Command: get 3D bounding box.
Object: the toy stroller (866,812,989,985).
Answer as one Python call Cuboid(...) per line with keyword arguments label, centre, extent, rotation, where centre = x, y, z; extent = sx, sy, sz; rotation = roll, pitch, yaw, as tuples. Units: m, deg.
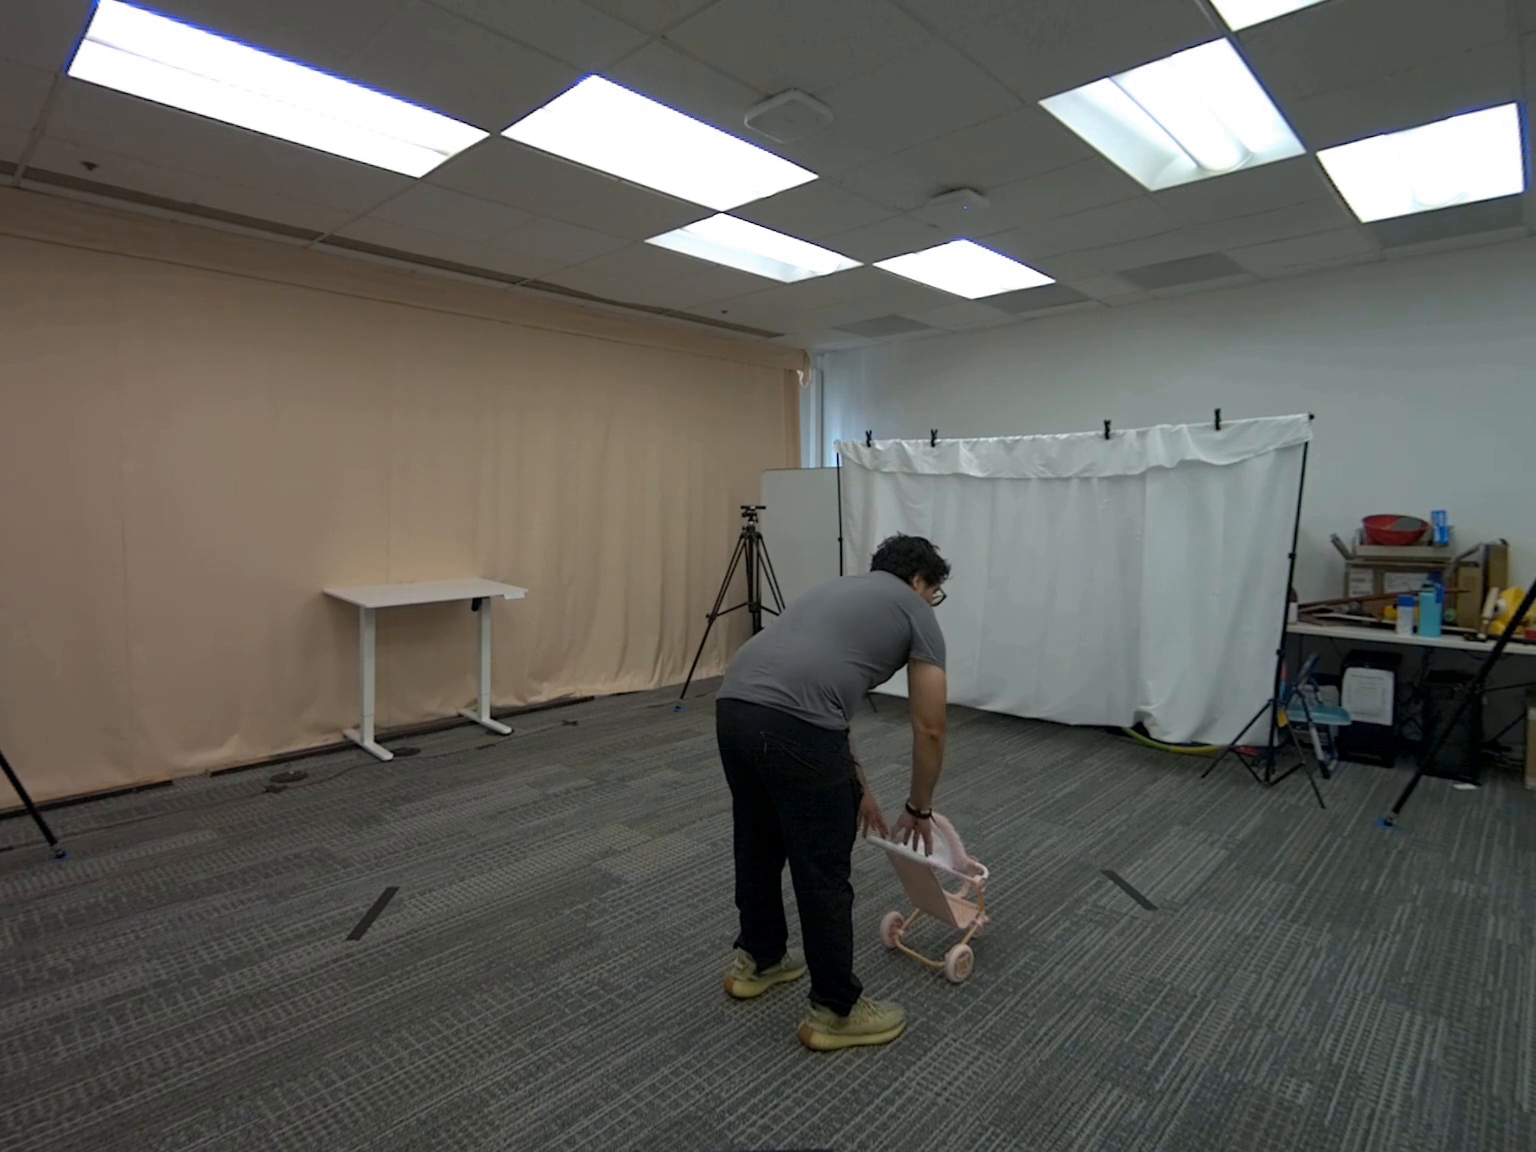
Cuboid(label="toy stroller", centre=(0.523, 0.953, 2.579), extent=(0.334, 0.529, 0.290), rotation=(-23, 16, -33))
